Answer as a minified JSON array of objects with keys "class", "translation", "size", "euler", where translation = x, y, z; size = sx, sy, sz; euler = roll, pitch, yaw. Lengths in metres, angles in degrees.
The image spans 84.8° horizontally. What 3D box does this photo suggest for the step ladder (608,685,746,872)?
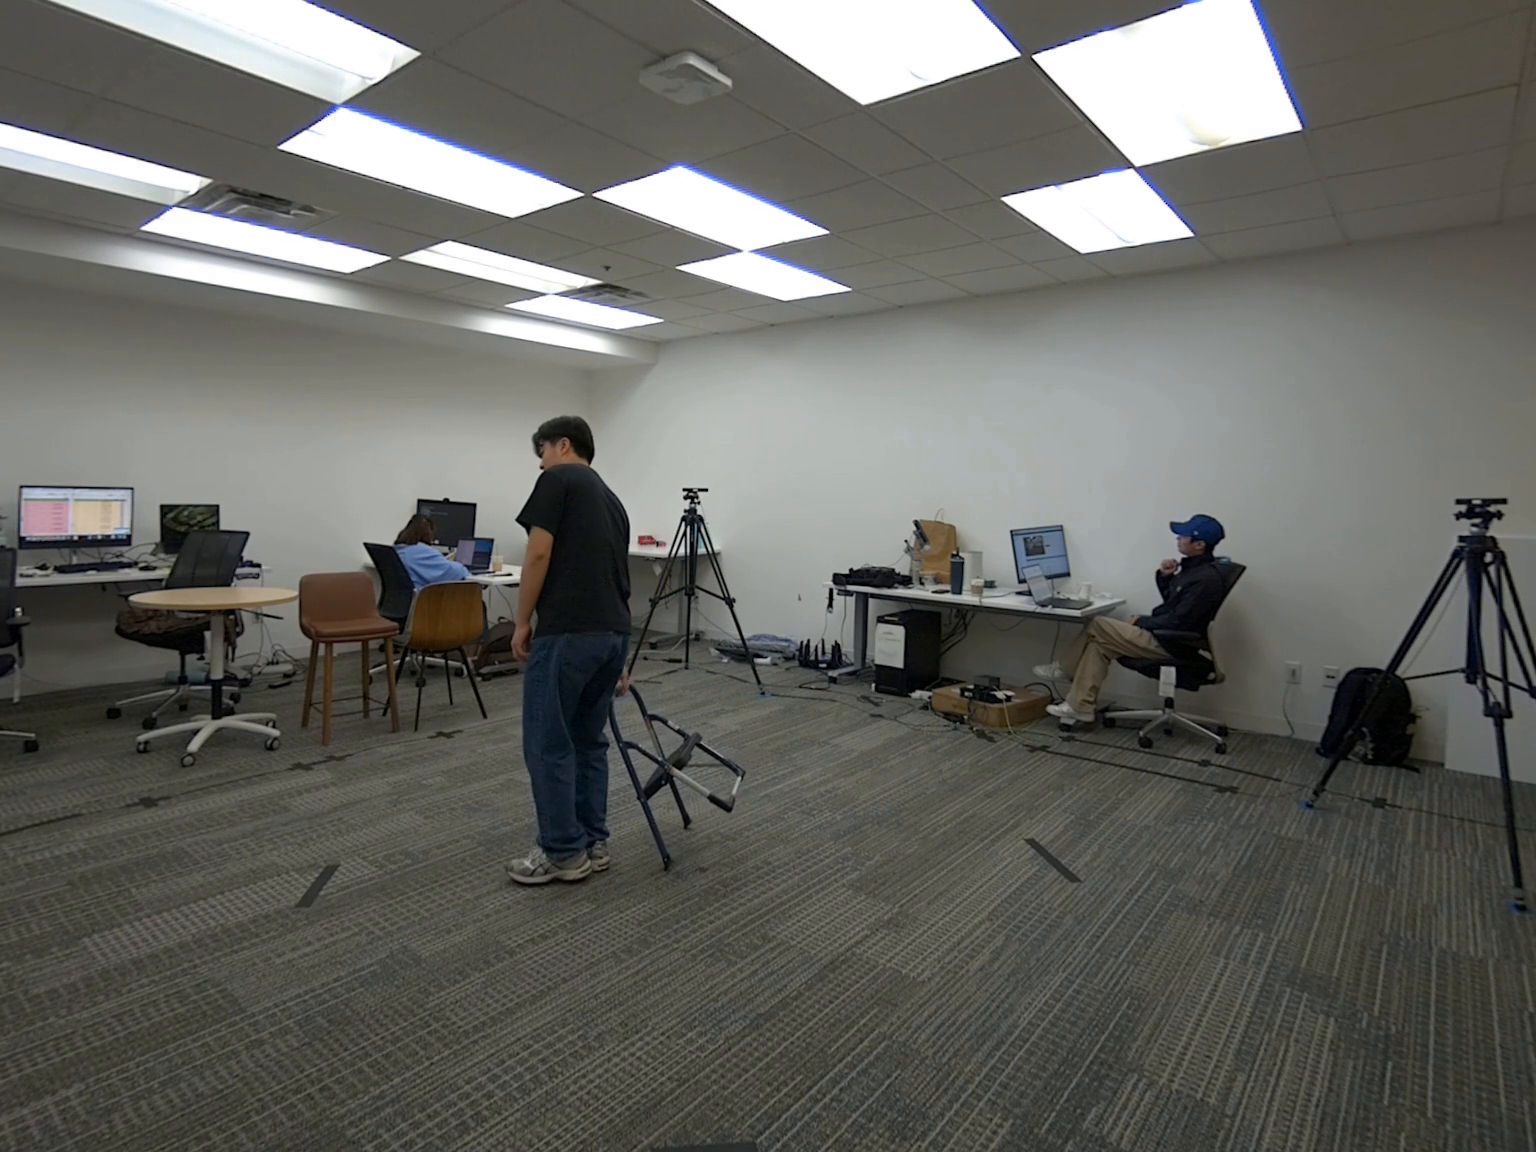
[{"class":"step ladder","translation":[-0.444,0.708,3.288],"size":[0.349,0.610,0.428],"euler":[-43,-3,8]}]
